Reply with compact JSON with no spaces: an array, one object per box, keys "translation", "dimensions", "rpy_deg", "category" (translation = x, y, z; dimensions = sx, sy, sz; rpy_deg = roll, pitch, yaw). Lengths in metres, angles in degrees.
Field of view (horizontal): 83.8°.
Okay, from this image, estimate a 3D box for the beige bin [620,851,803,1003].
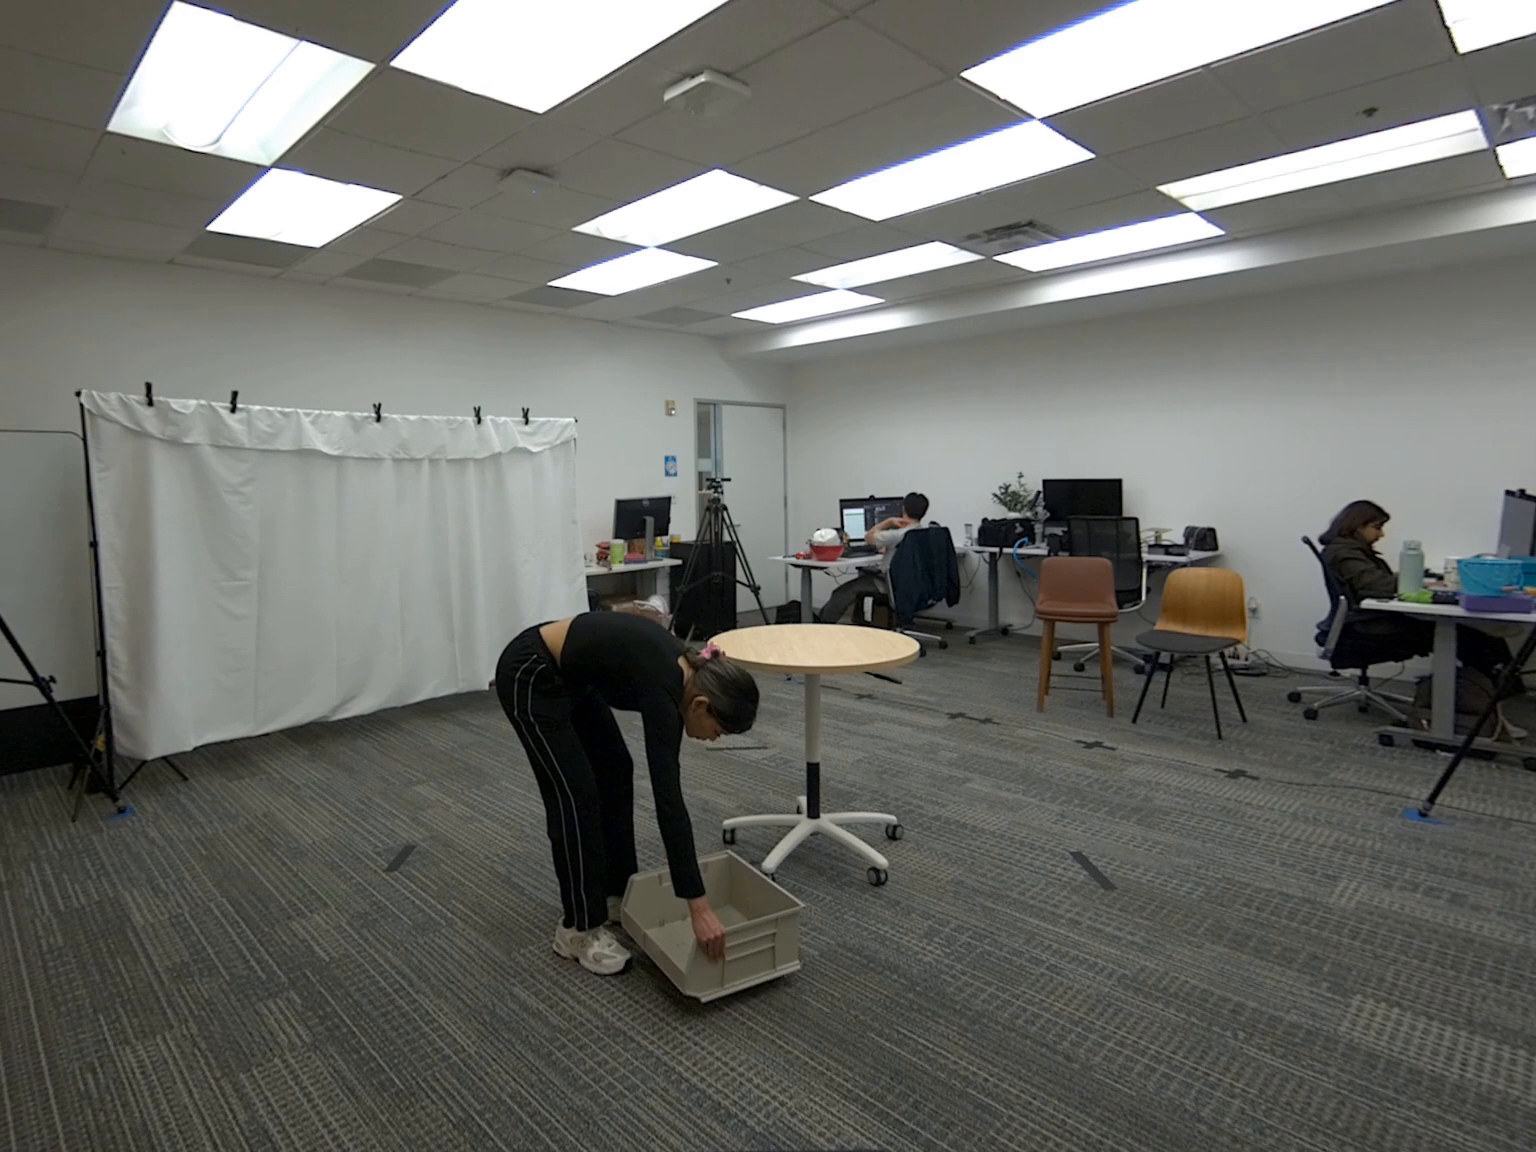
[{"translation":[-0.165,0.987,2.440],"dimensions":[0.368,0.188,0.434],"rpy_deg":[-3,5,-31],"category":"beige bin"}]
